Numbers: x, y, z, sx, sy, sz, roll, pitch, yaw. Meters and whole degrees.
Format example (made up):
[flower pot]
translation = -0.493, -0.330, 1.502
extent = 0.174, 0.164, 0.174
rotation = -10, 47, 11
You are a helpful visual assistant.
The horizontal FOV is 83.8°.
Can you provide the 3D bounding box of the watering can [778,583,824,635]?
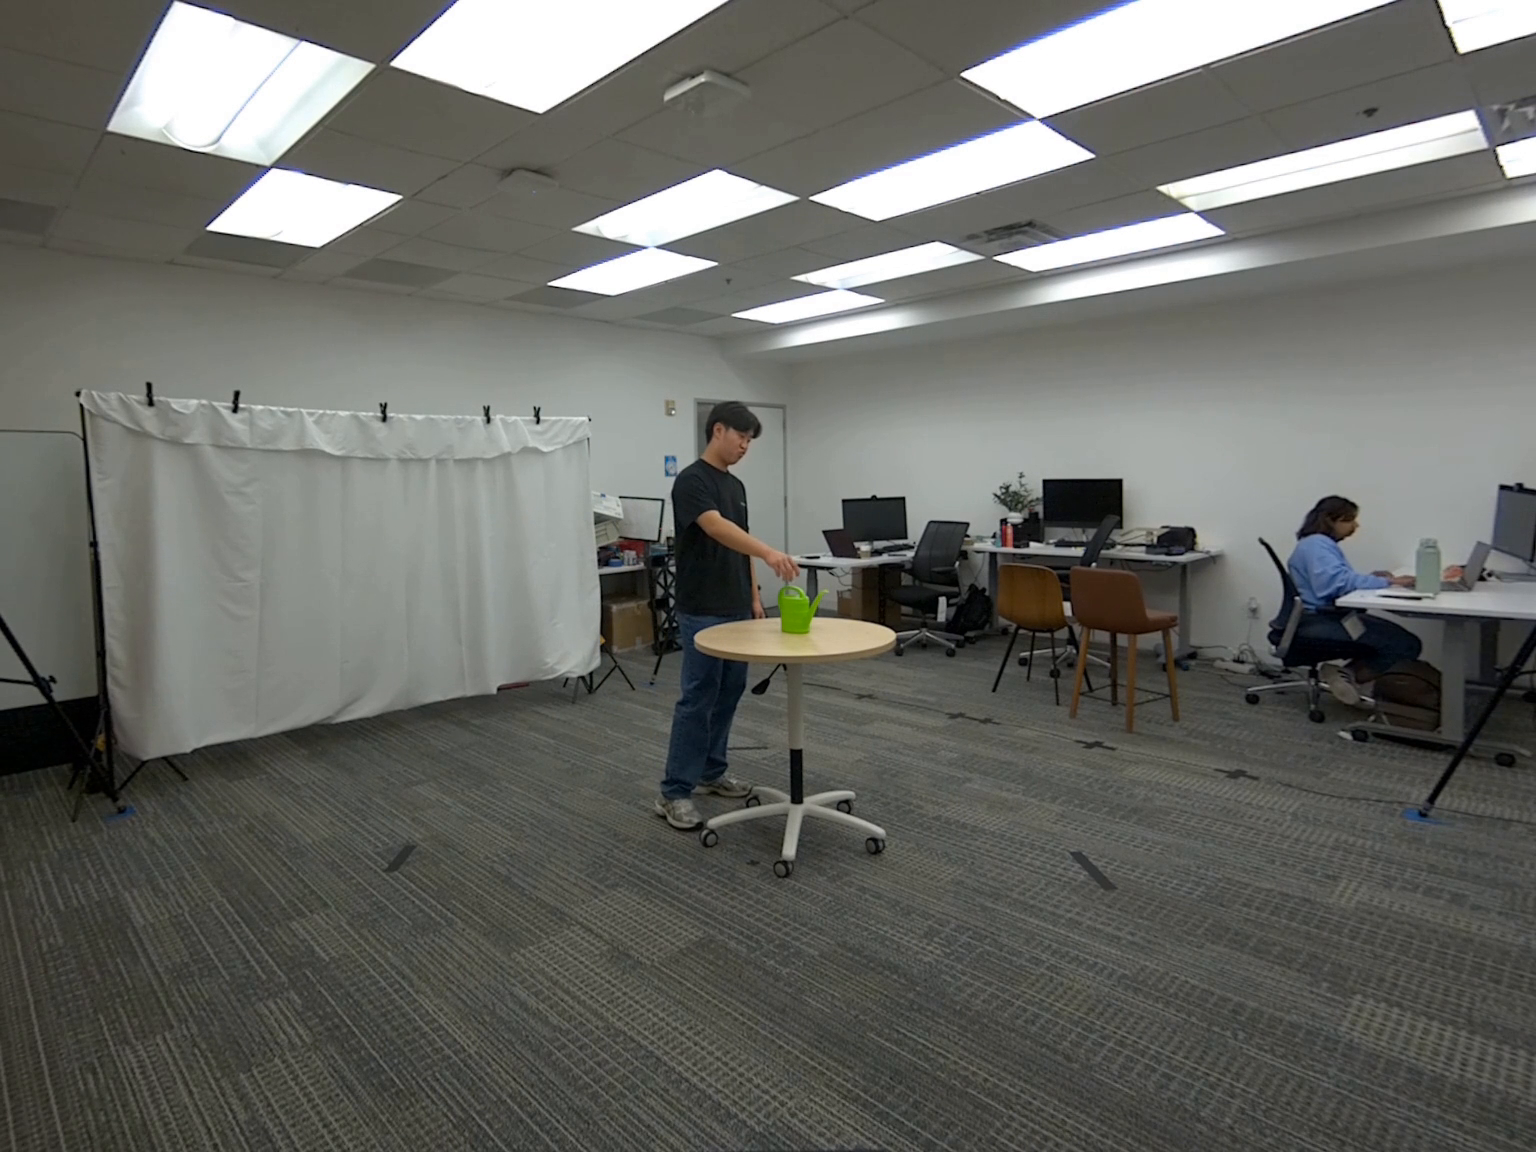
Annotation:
[watering can]
translation = 0.127, 0.132, 3.286
extent = 0.096, 0.176, 0.285
rotation = -4, 6, -24
